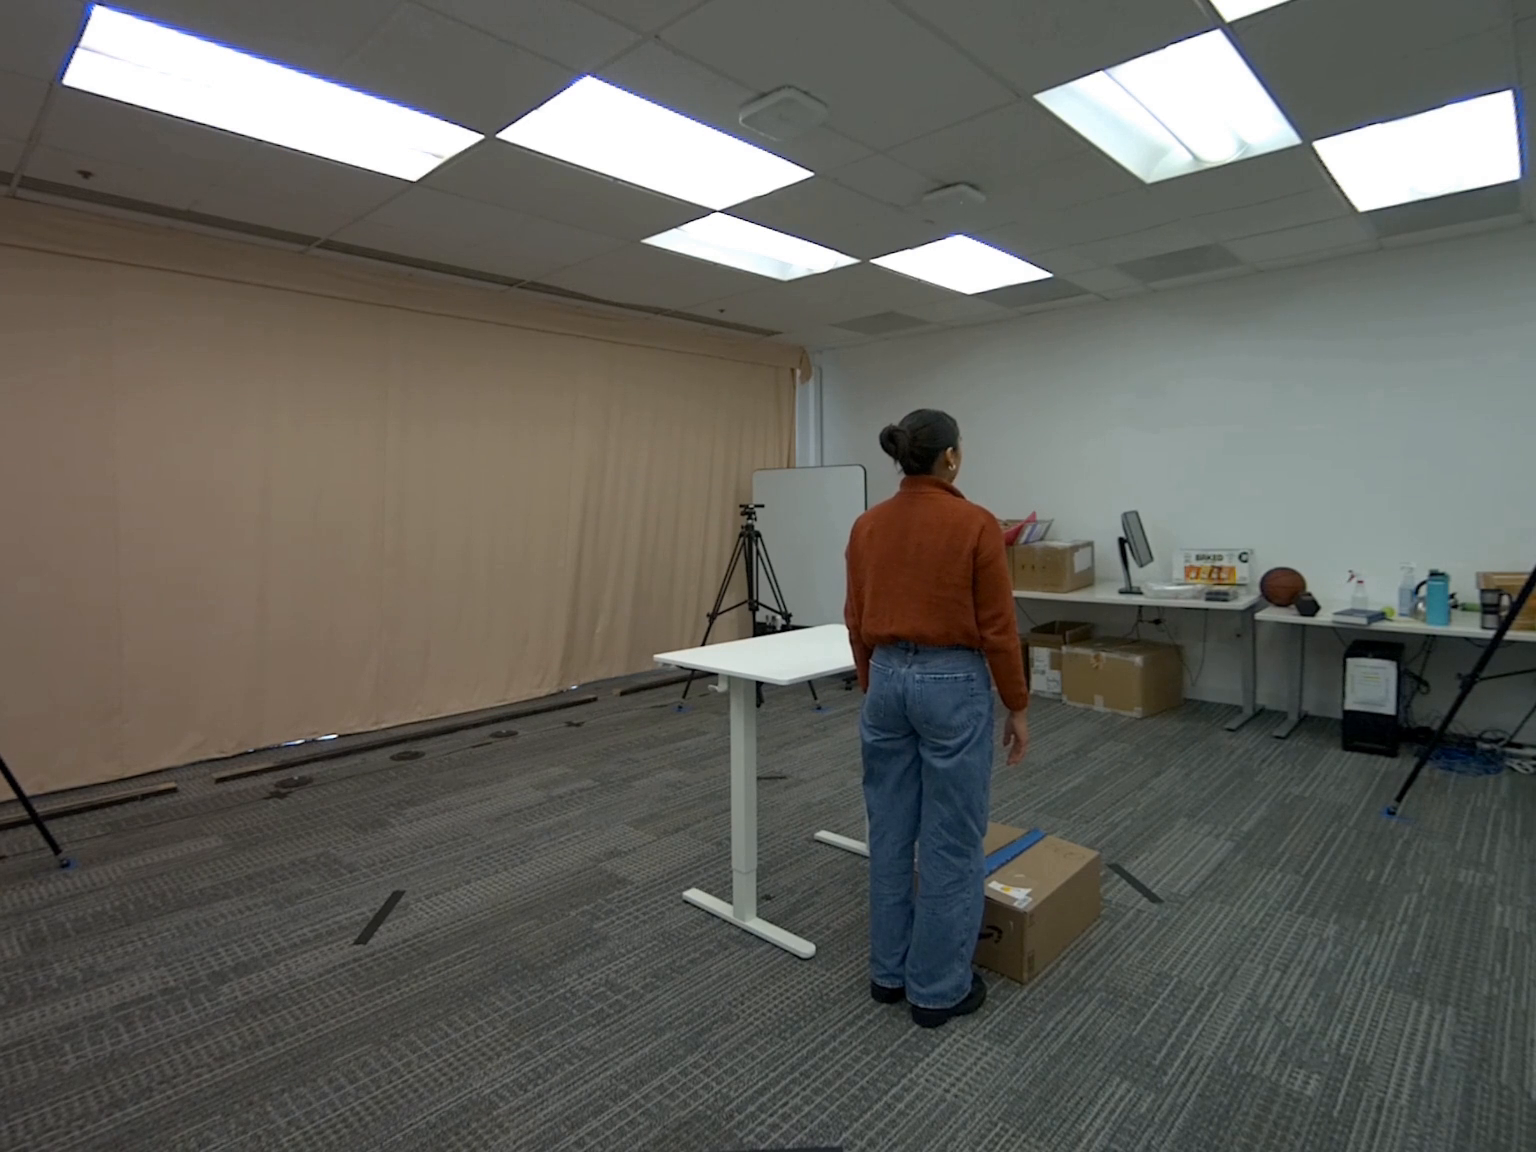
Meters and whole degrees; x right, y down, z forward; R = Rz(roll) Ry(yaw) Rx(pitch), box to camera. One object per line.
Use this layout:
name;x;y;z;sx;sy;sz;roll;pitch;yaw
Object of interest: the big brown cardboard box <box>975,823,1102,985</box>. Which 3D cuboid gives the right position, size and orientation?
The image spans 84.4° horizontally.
big brown cardboard box;0.774;1.035;2.752;0.431;0.232;0.571;4;6;43
